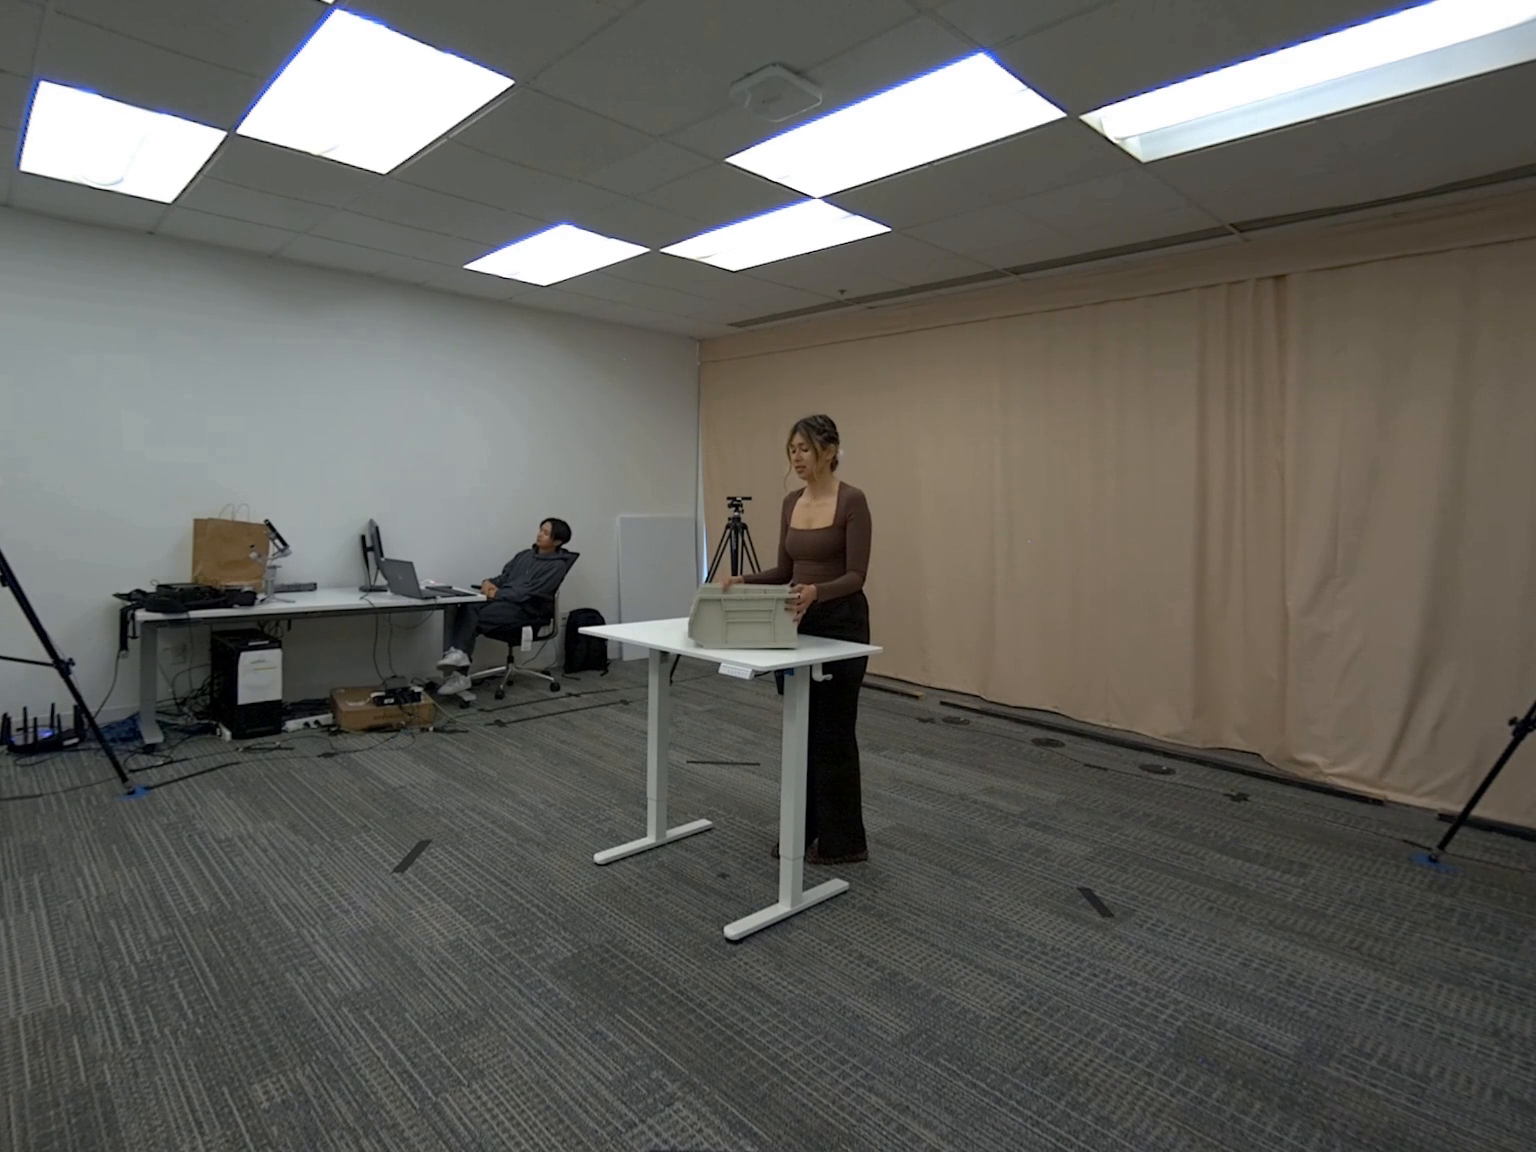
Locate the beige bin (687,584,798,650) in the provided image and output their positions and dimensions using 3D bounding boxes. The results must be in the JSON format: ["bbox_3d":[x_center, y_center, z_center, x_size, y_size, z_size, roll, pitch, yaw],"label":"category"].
[{"bbox_3d":[-0.091,0.137,3.019,0.377,0.188,0.423,3,5,-1],"label":"beige bin"}]
